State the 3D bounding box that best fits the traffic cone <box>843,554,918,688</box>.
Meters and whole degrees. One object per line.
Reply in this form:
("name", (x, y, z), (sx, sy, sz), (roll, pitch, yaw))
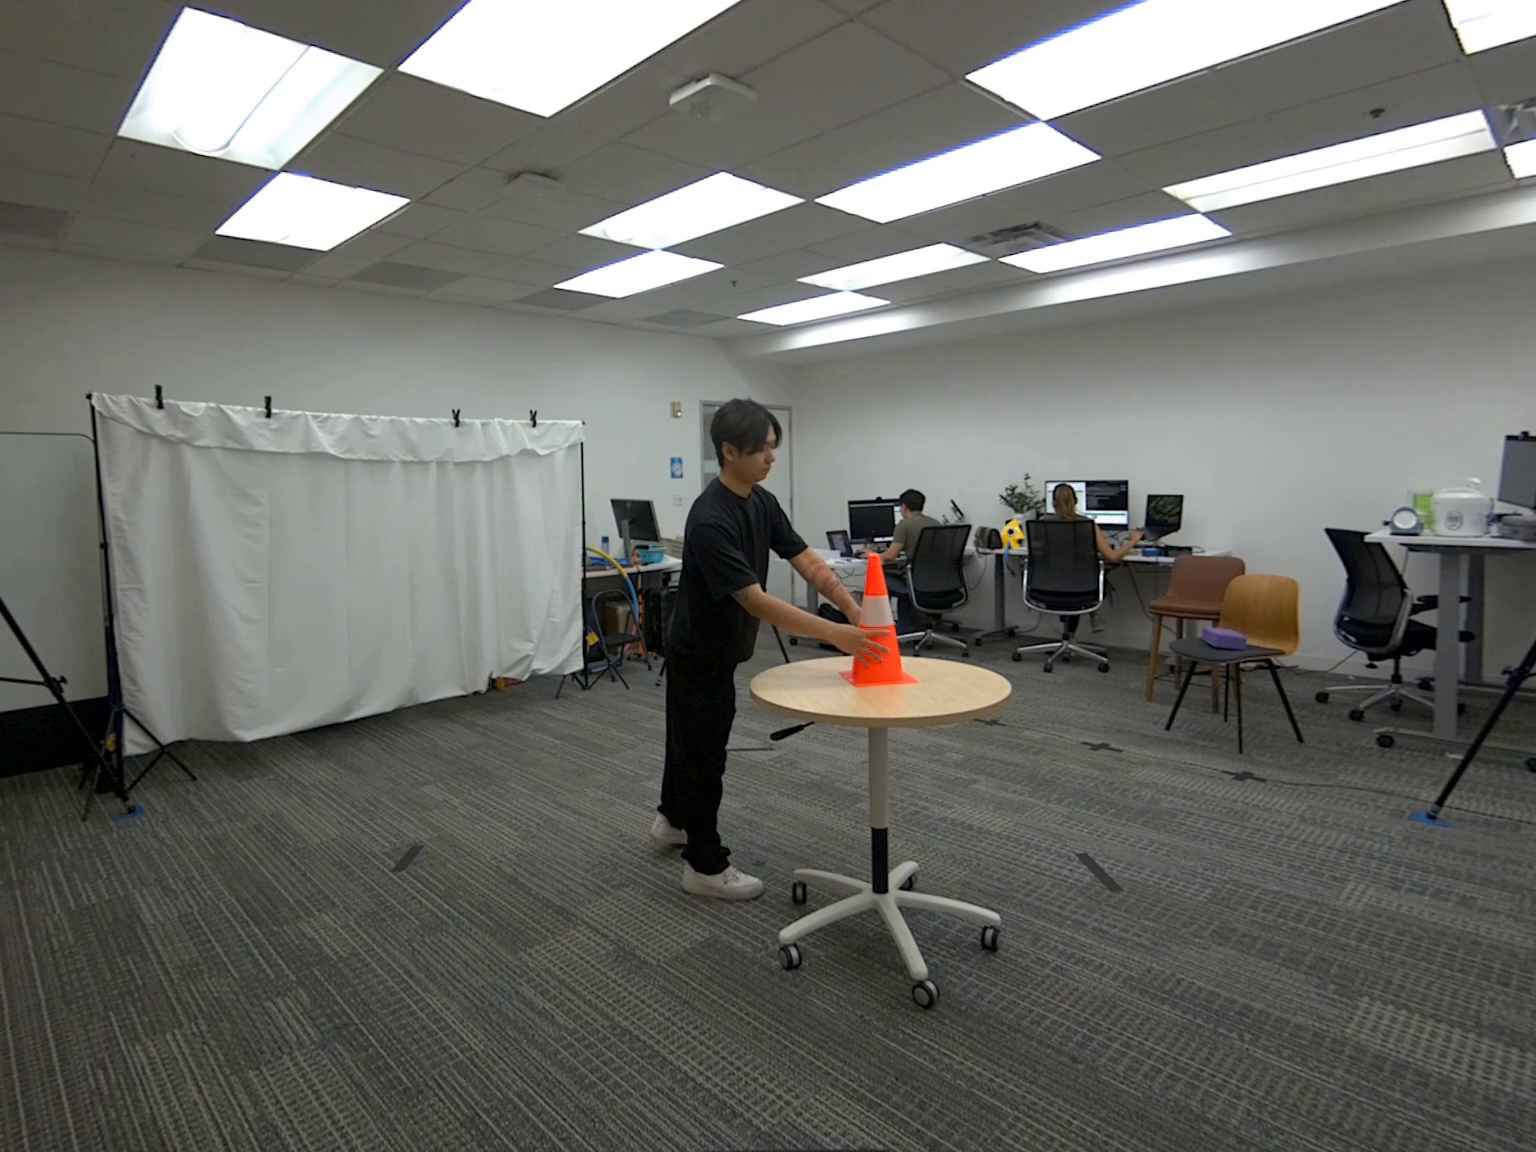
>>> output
("traffic cone", (0.328, 0.125, 2.608), (0.203, 0.382, 0.206), (-4, 5, -12))
